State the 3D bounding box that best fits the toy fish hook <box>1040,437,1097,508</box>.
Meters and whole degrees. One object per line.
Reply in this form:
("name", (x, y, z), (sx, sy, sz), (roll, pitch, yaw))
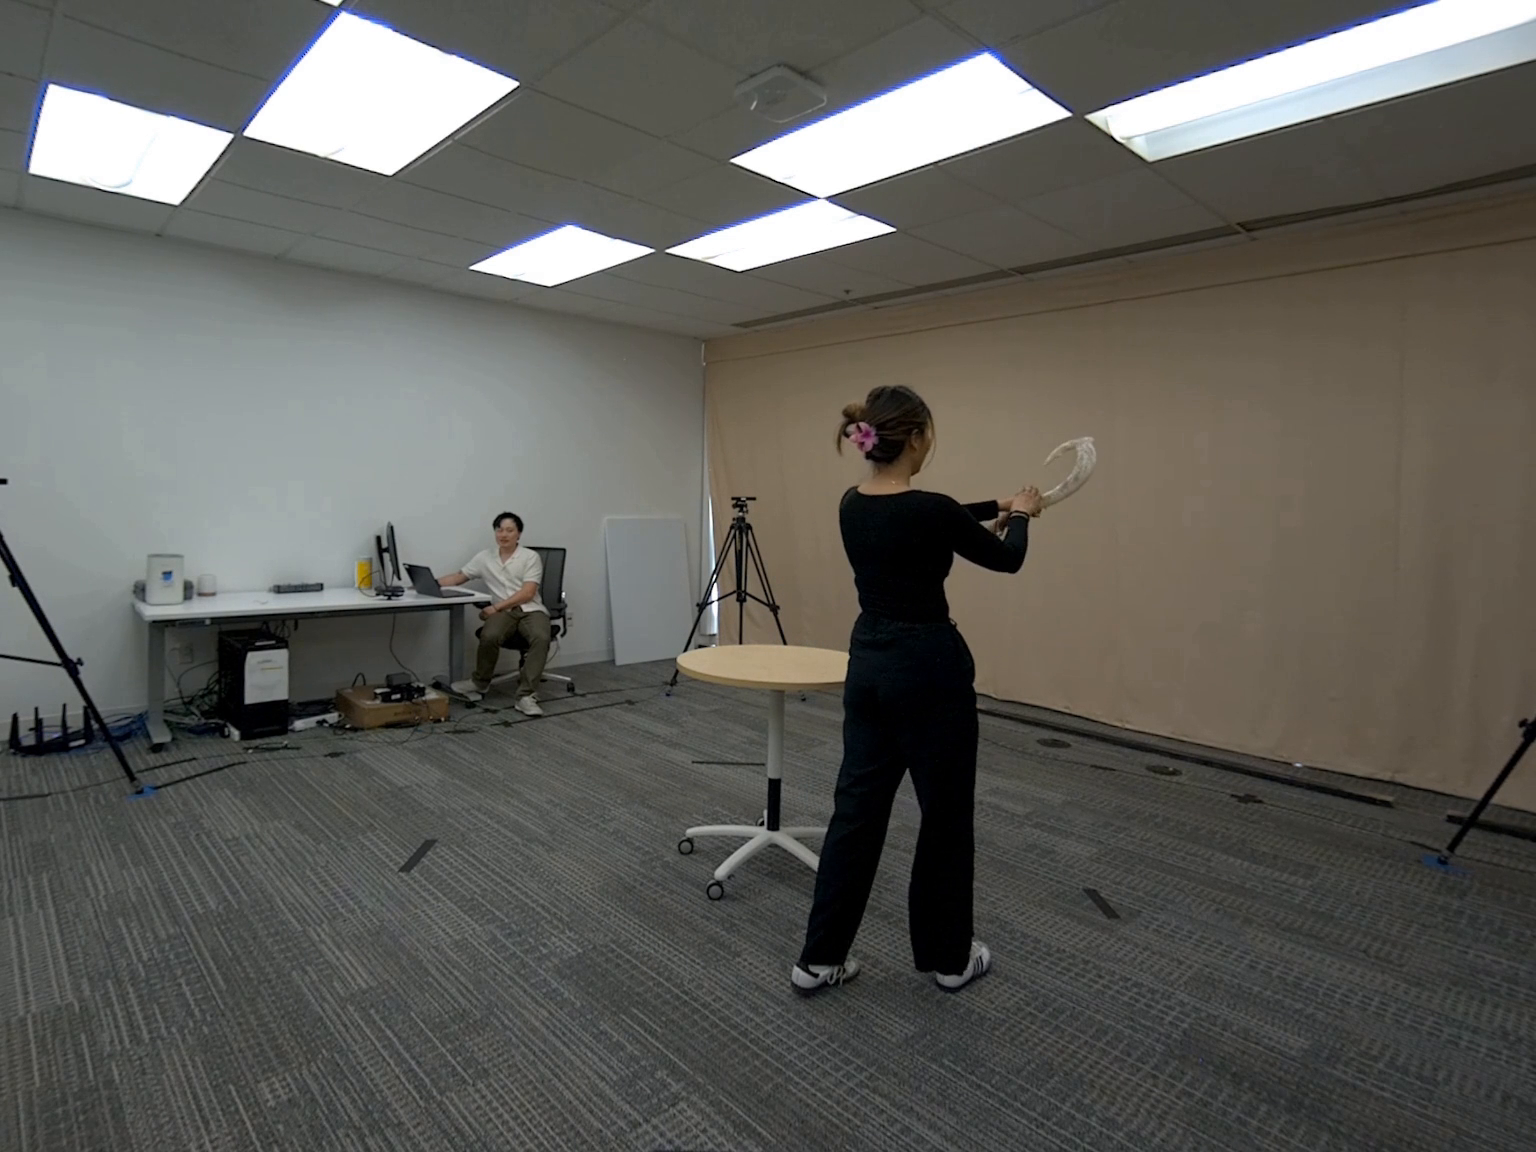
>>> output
("toy fish hook", (0.842, -0.264, 2.704), (0.047, 0.227, 0.507), (31, -43, -16))
